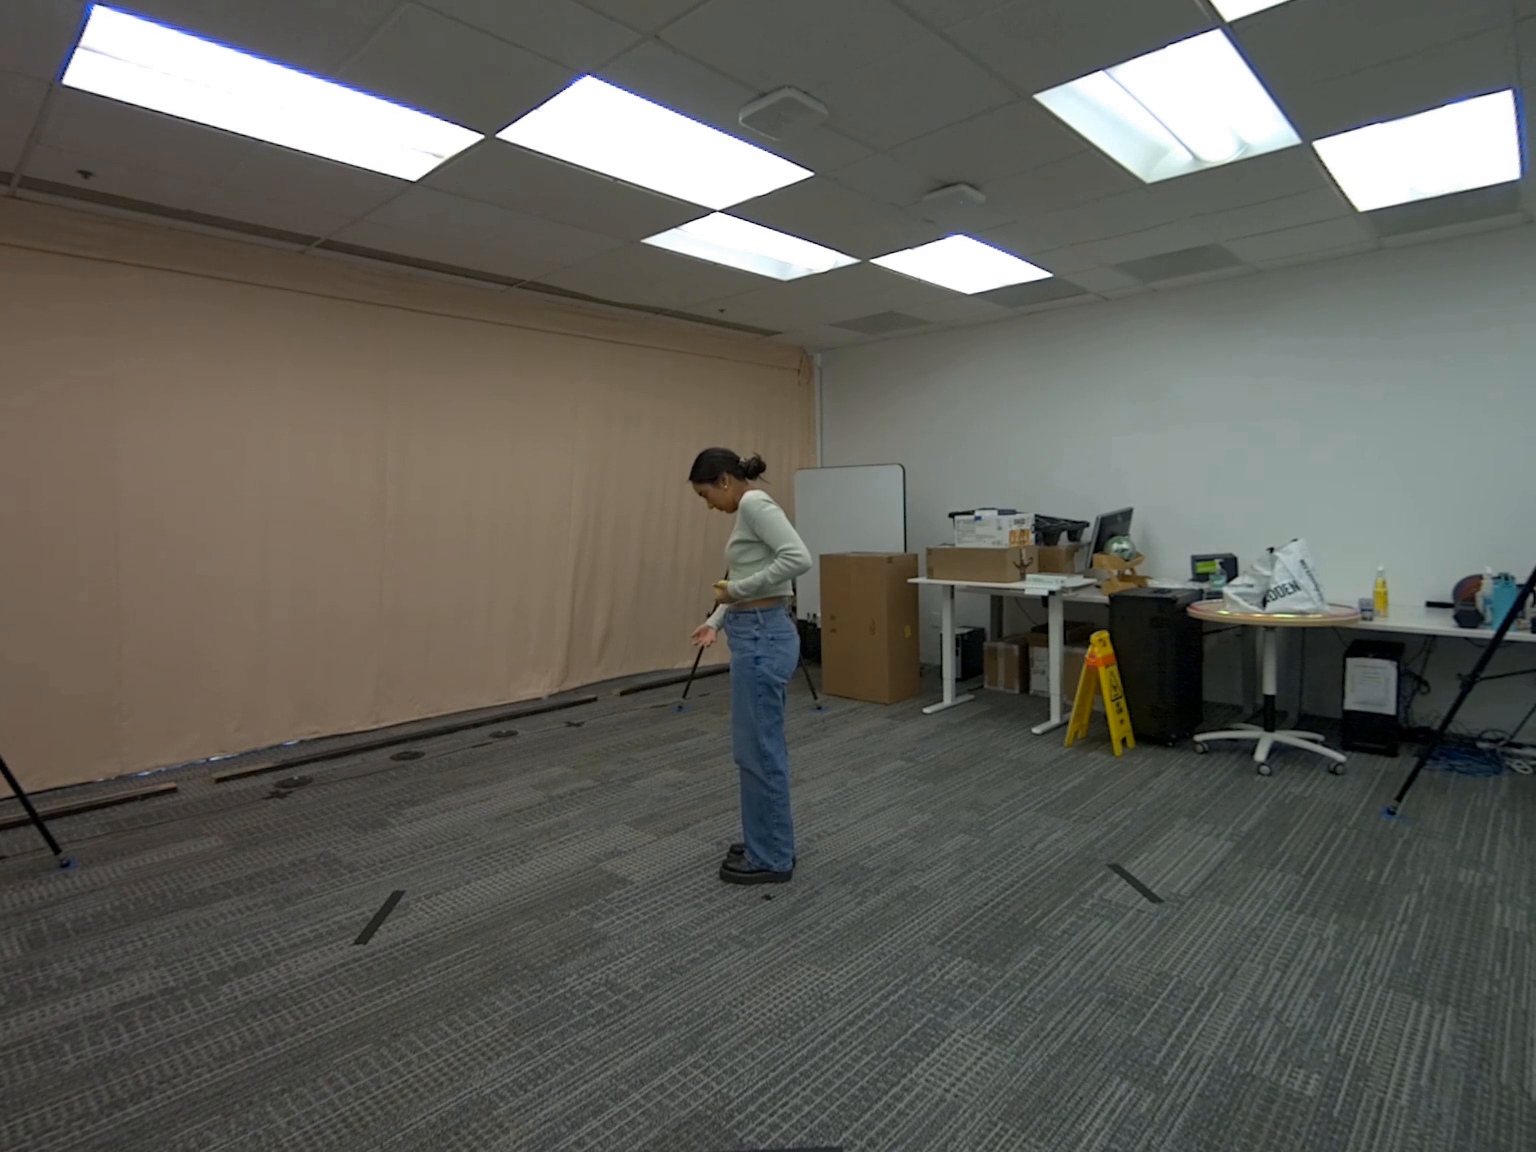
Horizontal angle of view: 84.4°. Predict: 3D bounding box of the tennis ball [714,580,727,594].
[{"bbox_3d":[-0.149,0.039,3.011,0.066,0.066,0.067,-1,4,-2],"label":"tennis ball"}]
